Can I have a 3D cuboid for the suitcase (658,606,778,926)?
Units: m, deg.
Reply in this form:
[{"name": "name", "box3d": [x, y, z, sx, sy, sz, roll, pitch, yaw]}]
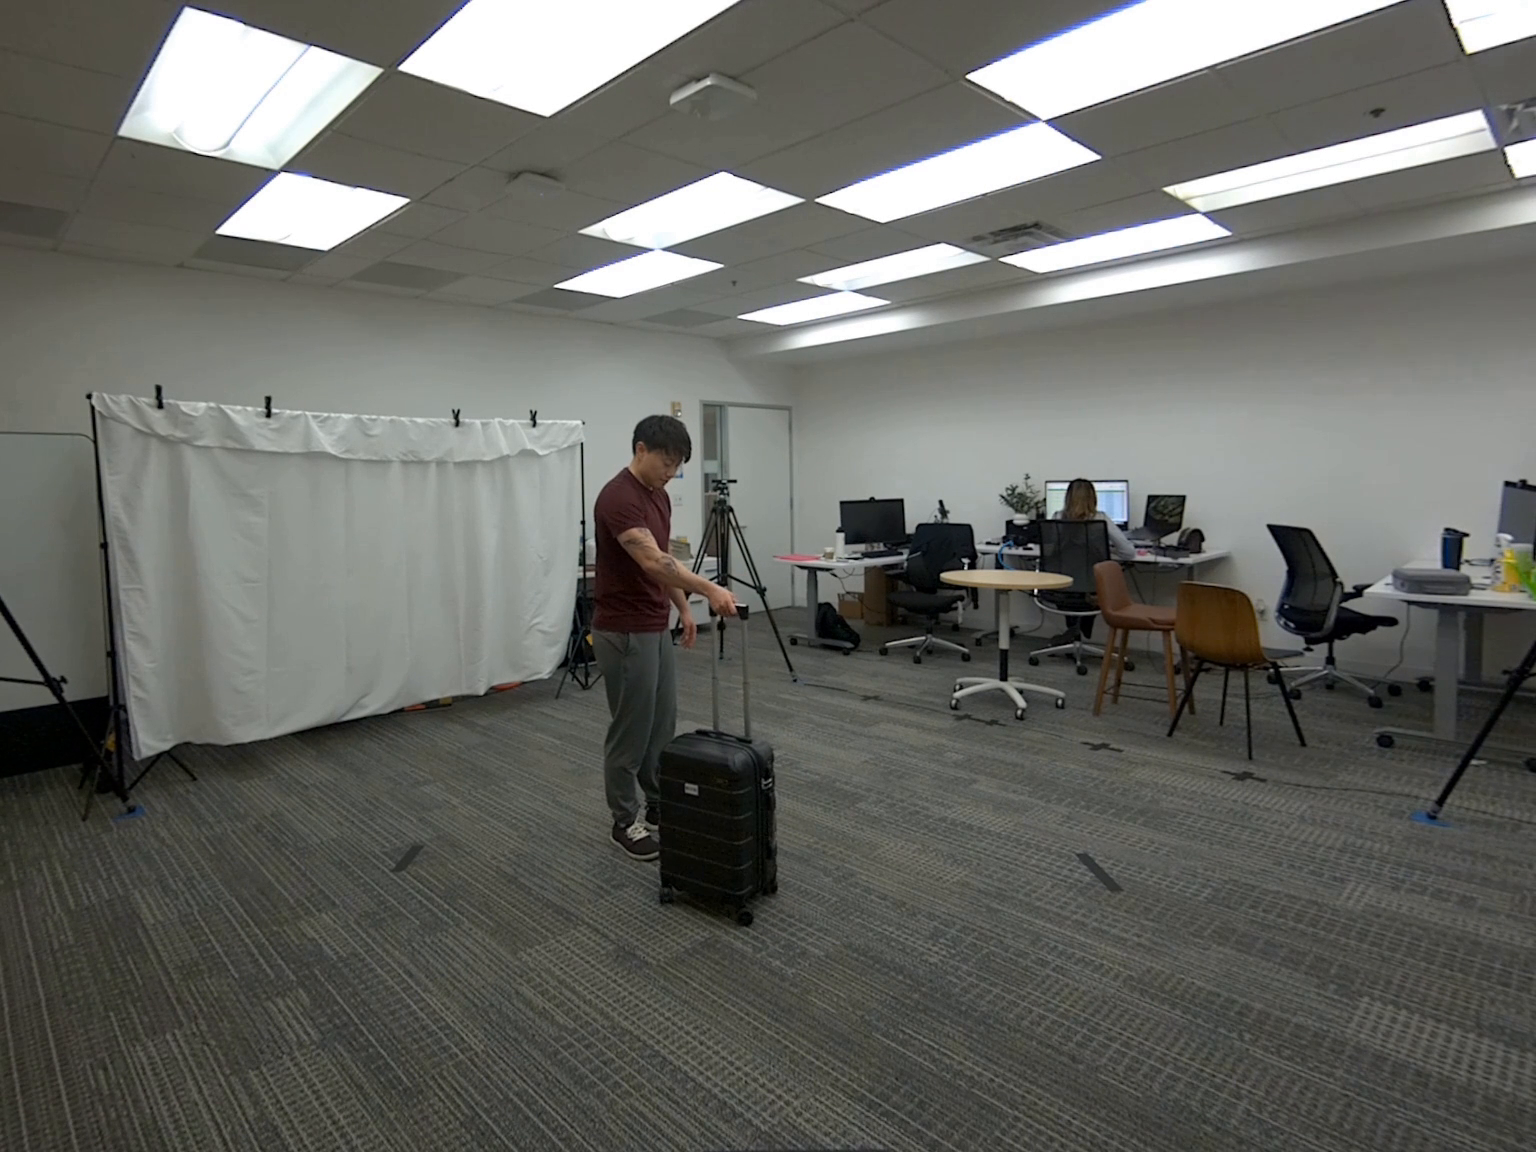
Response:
[{"name": "suitcase", "box3d": [-0.166, 0.606, 2.820, 0.394, 0.974, 0.251, 2, 6, 31]}]
